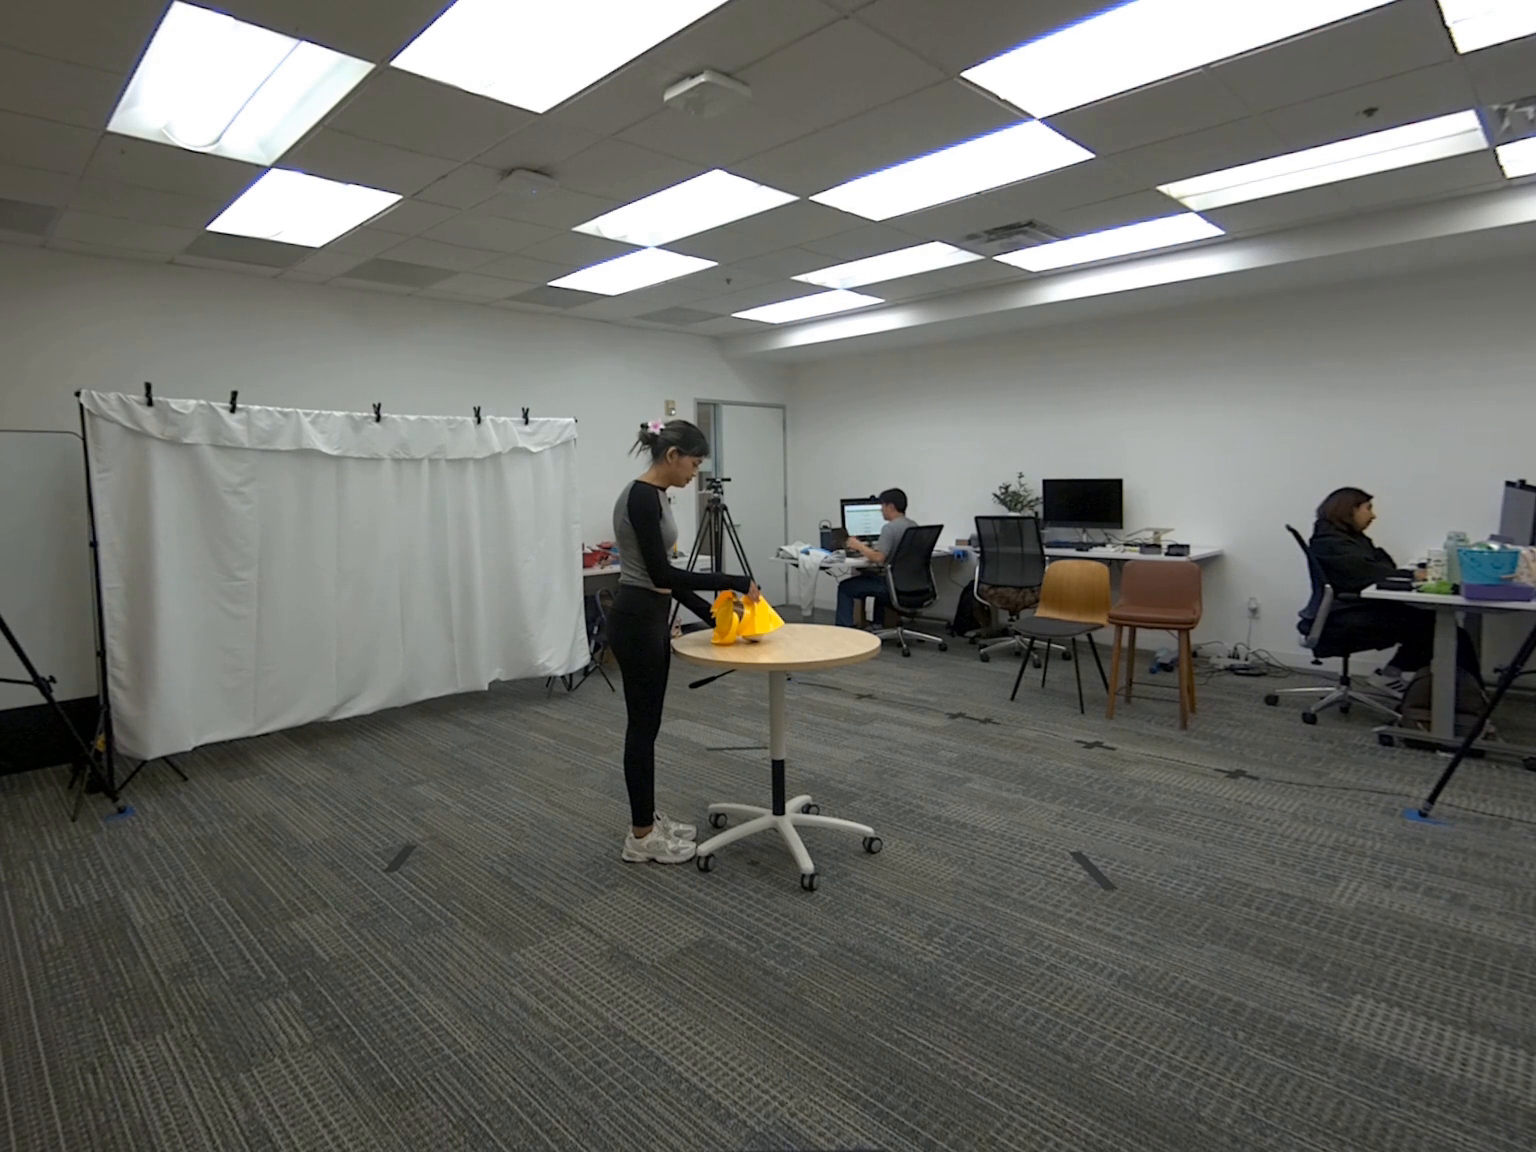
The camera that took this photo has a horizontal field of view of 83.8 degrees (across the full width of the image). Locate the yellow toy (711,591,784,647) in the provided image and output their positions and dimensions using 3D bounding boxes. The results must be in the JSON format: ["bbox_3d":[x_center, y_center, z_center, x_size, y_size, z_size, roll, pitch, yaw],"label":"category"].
[{"bbox_3d":[-0.072,0.174,3.168,0.224,0.210,0.193,18,-39,-27],"label":"yellow toy"}]
